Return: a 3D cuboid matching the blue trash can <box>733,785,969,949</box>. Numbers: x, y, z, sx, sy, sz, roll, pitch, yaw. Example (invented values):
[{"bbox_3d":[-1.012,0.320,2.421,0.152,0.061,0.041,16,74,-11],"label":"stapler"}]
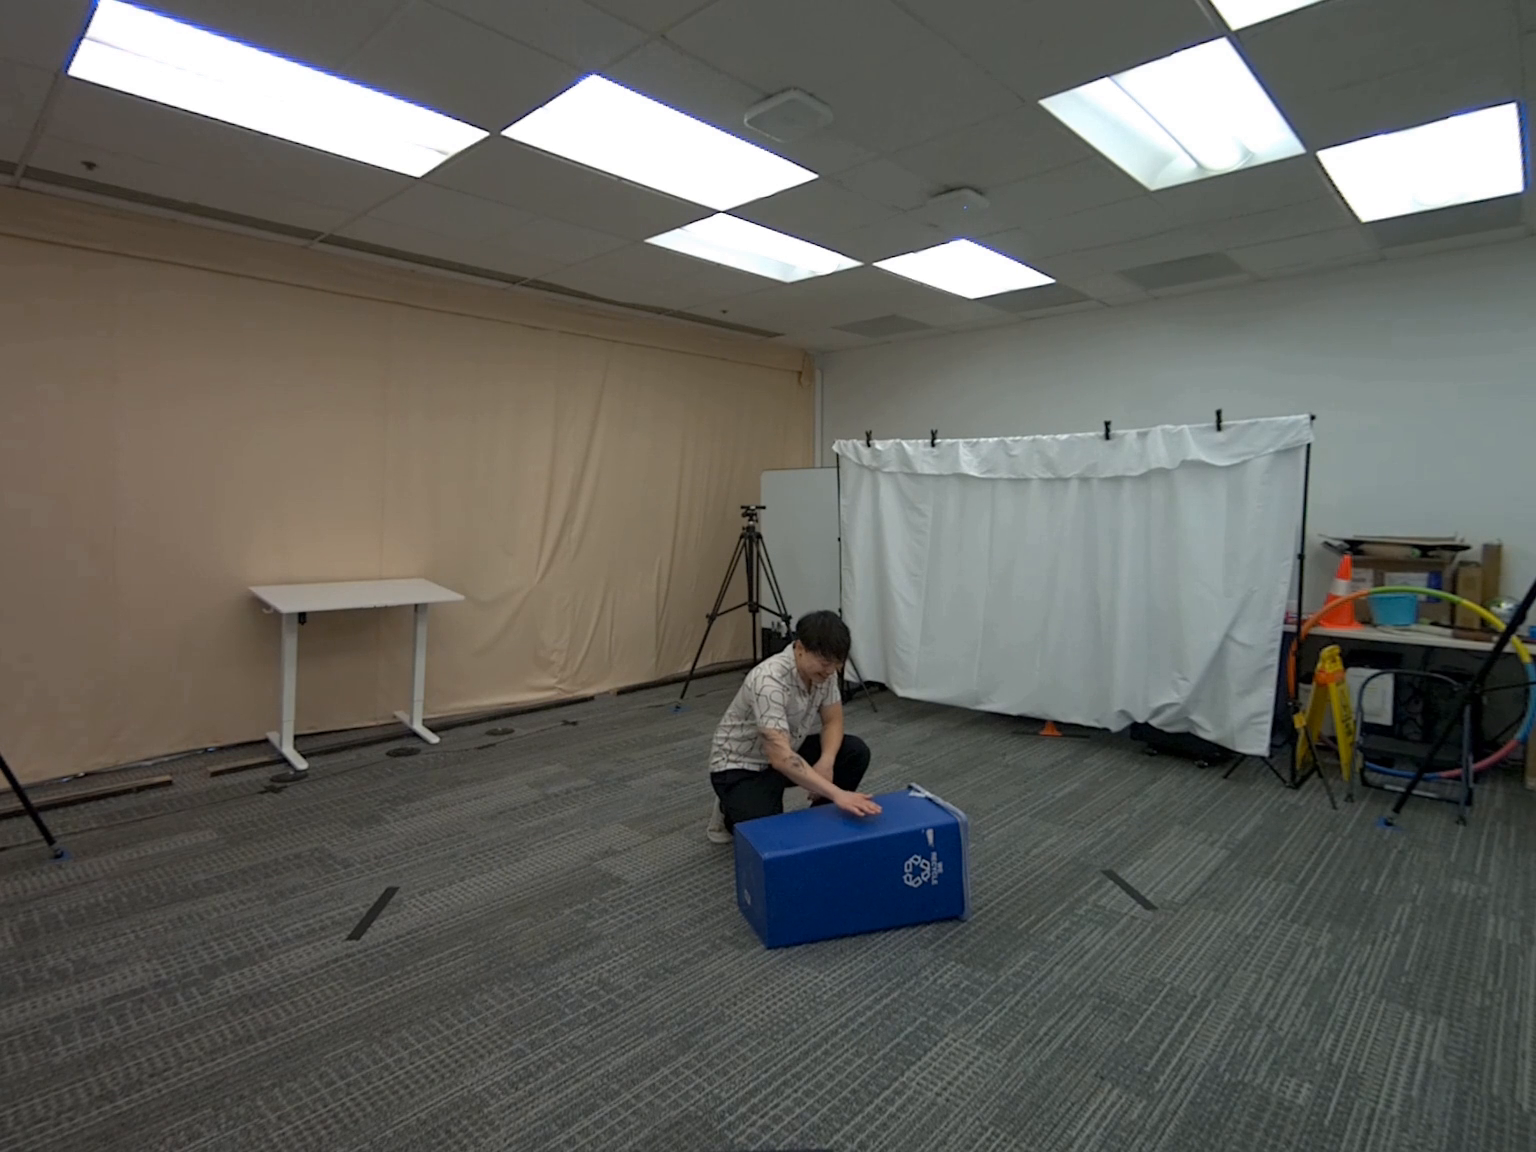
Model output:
[{"bbox_3d":[0.277,0.983,2.870,0.702,0.373,0.385,-5,5,-17],"label":"blue trash can"}]
